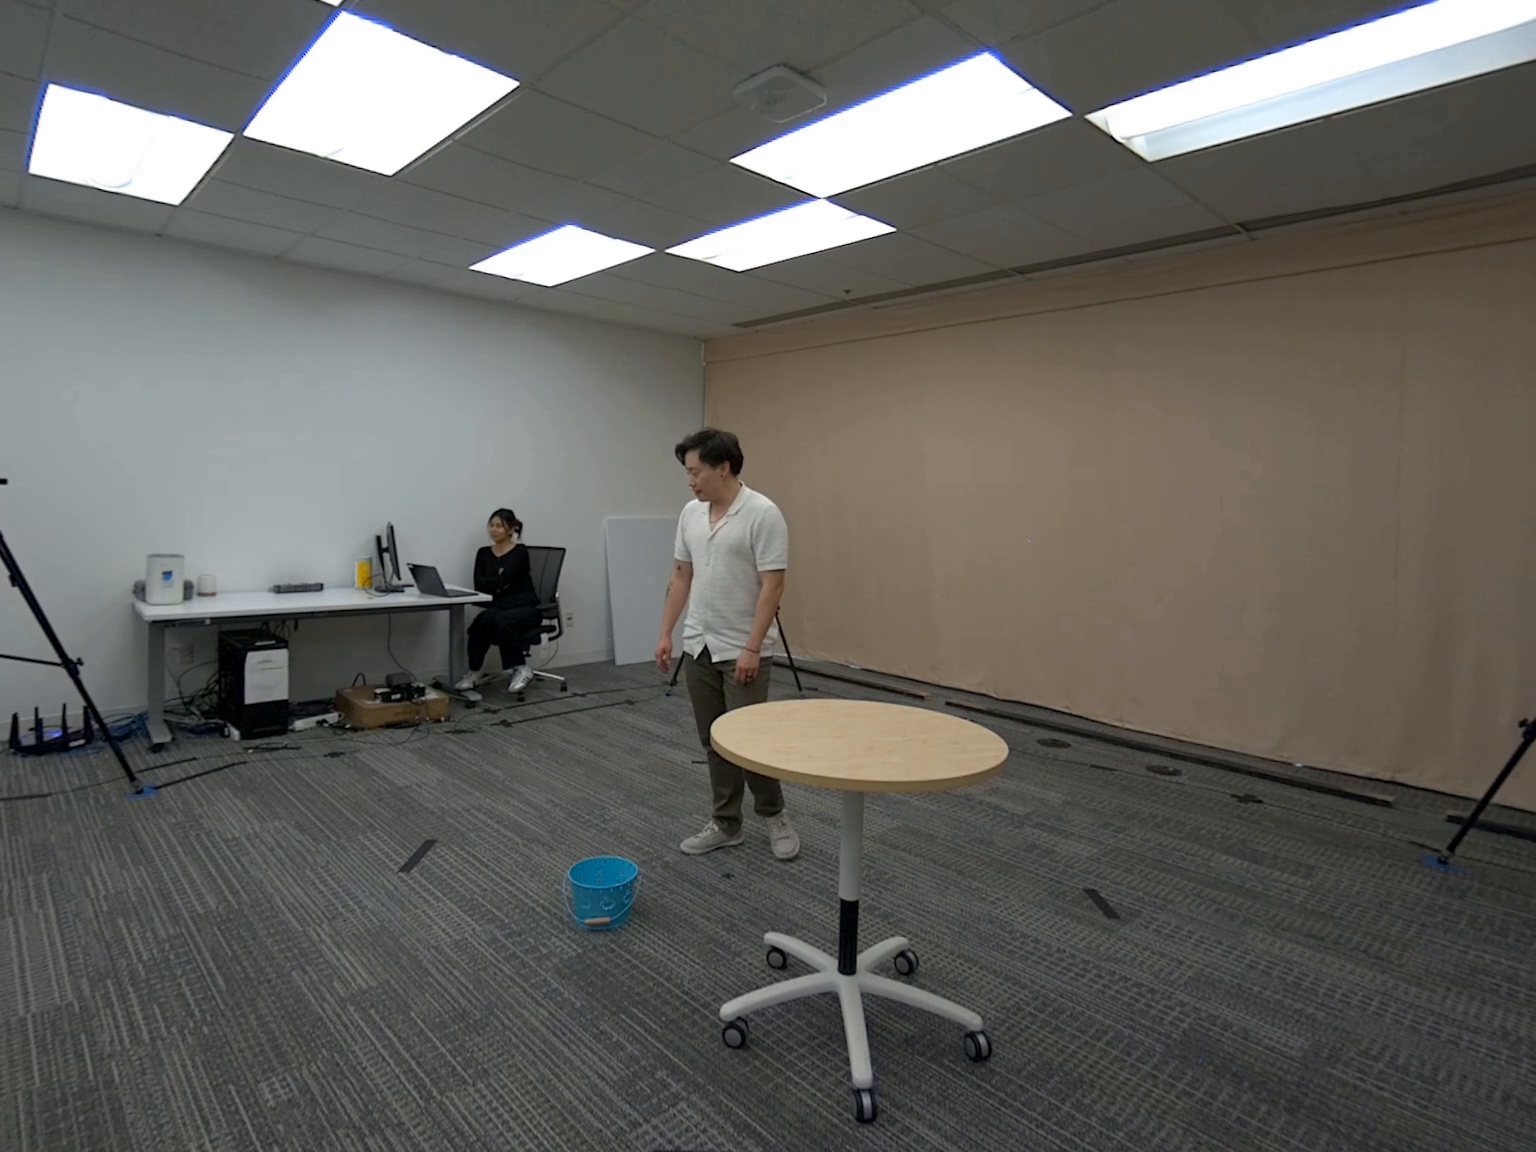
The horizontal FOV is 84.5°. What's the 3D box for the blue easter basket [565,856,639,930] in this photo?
[{"bbox_3d":[-0.553,1.047,2.776,0.243,0.155,0.244,1,4,-1],"label":"blue easter basket"}]
